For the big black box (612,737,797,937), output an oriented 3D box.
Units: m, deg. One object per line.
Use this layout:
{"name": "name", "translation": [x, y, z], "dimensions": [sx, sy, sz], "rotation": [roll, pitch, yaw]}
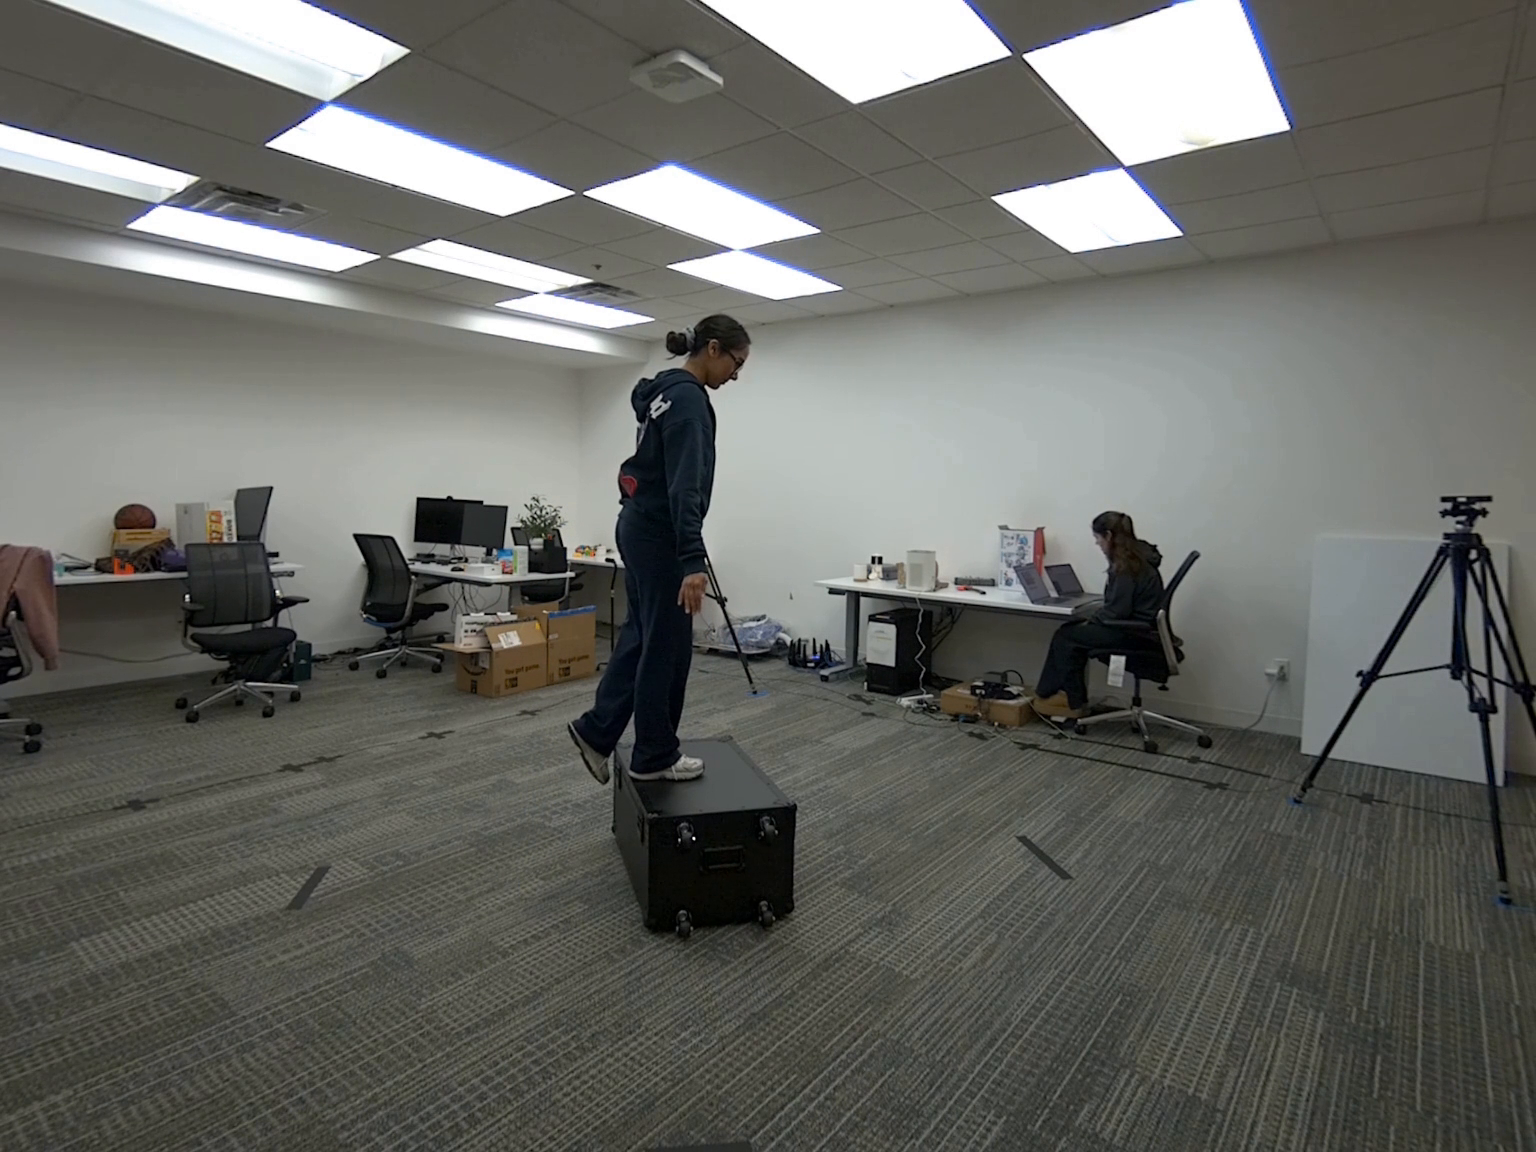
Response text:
{"name": "big black box", "translation": [-0.262, 0.884, 3.017], "dimensions": [0.512, 0.395, 0.880], "rotation": [-1, 5, -18]}
